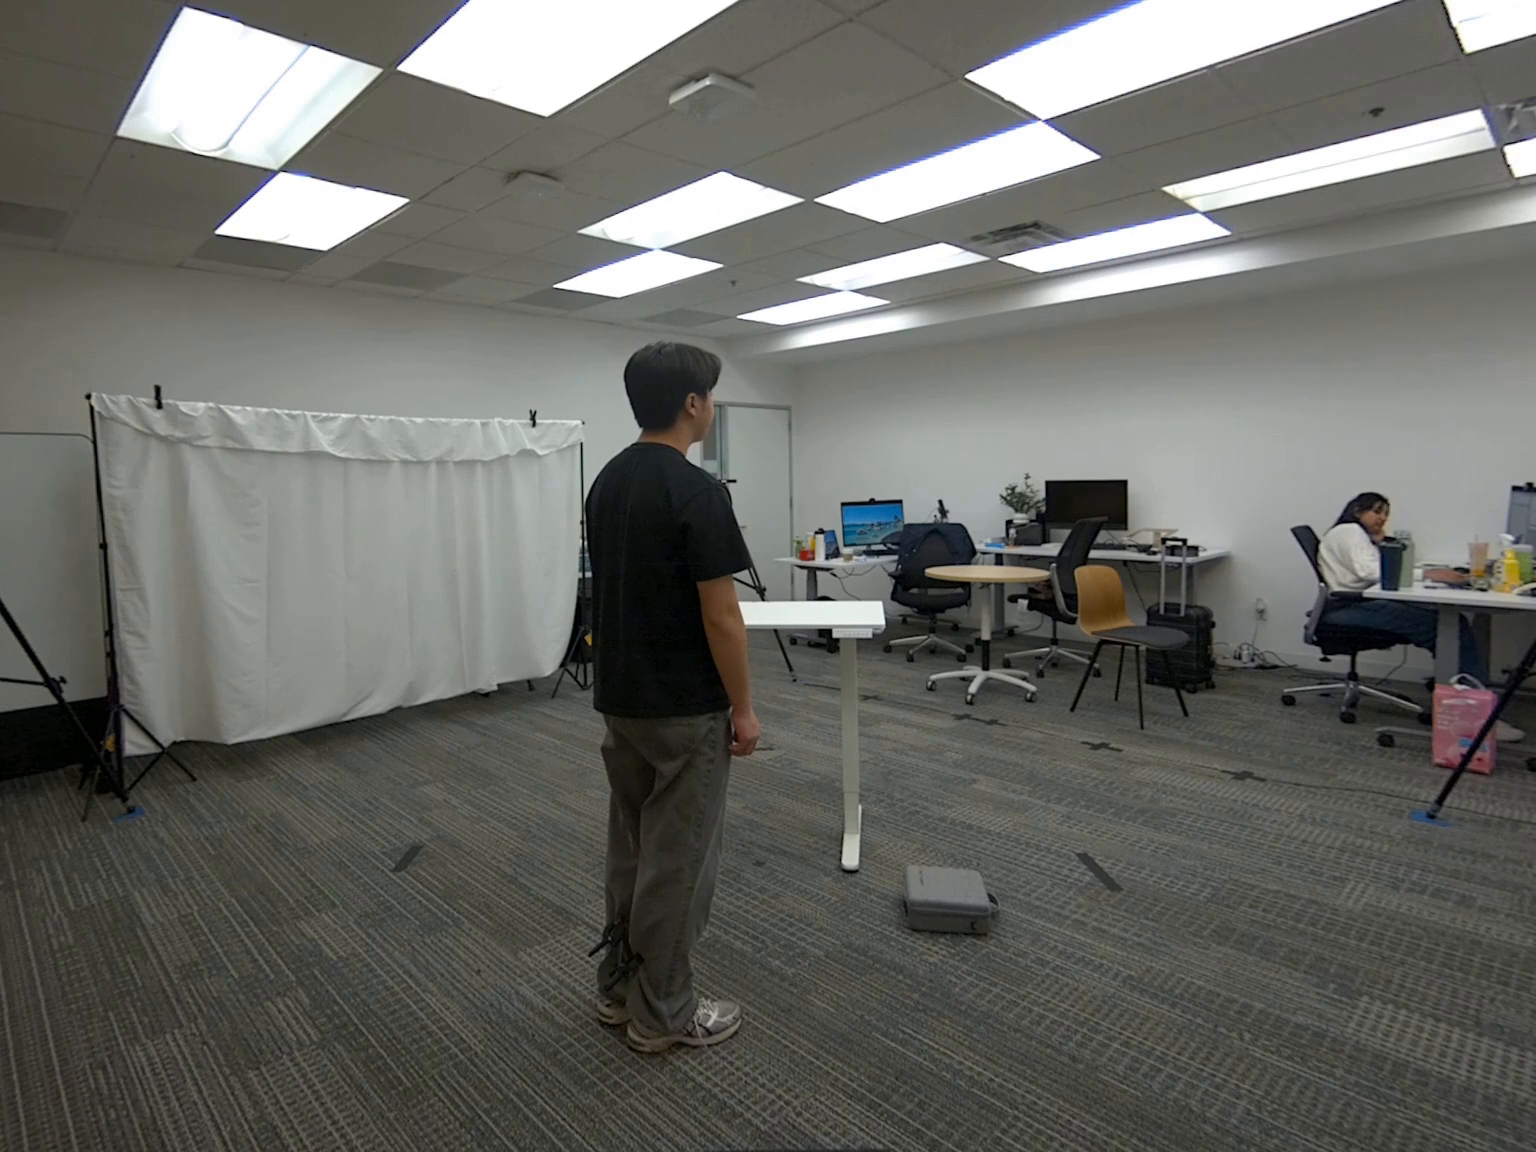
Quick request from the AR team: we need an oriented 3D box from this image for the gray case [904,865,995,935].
[{"bbox_3d":[0.583,1.025,2.718,0.290,0.102,0.262,0,5,9],"label":"gray case"}]
